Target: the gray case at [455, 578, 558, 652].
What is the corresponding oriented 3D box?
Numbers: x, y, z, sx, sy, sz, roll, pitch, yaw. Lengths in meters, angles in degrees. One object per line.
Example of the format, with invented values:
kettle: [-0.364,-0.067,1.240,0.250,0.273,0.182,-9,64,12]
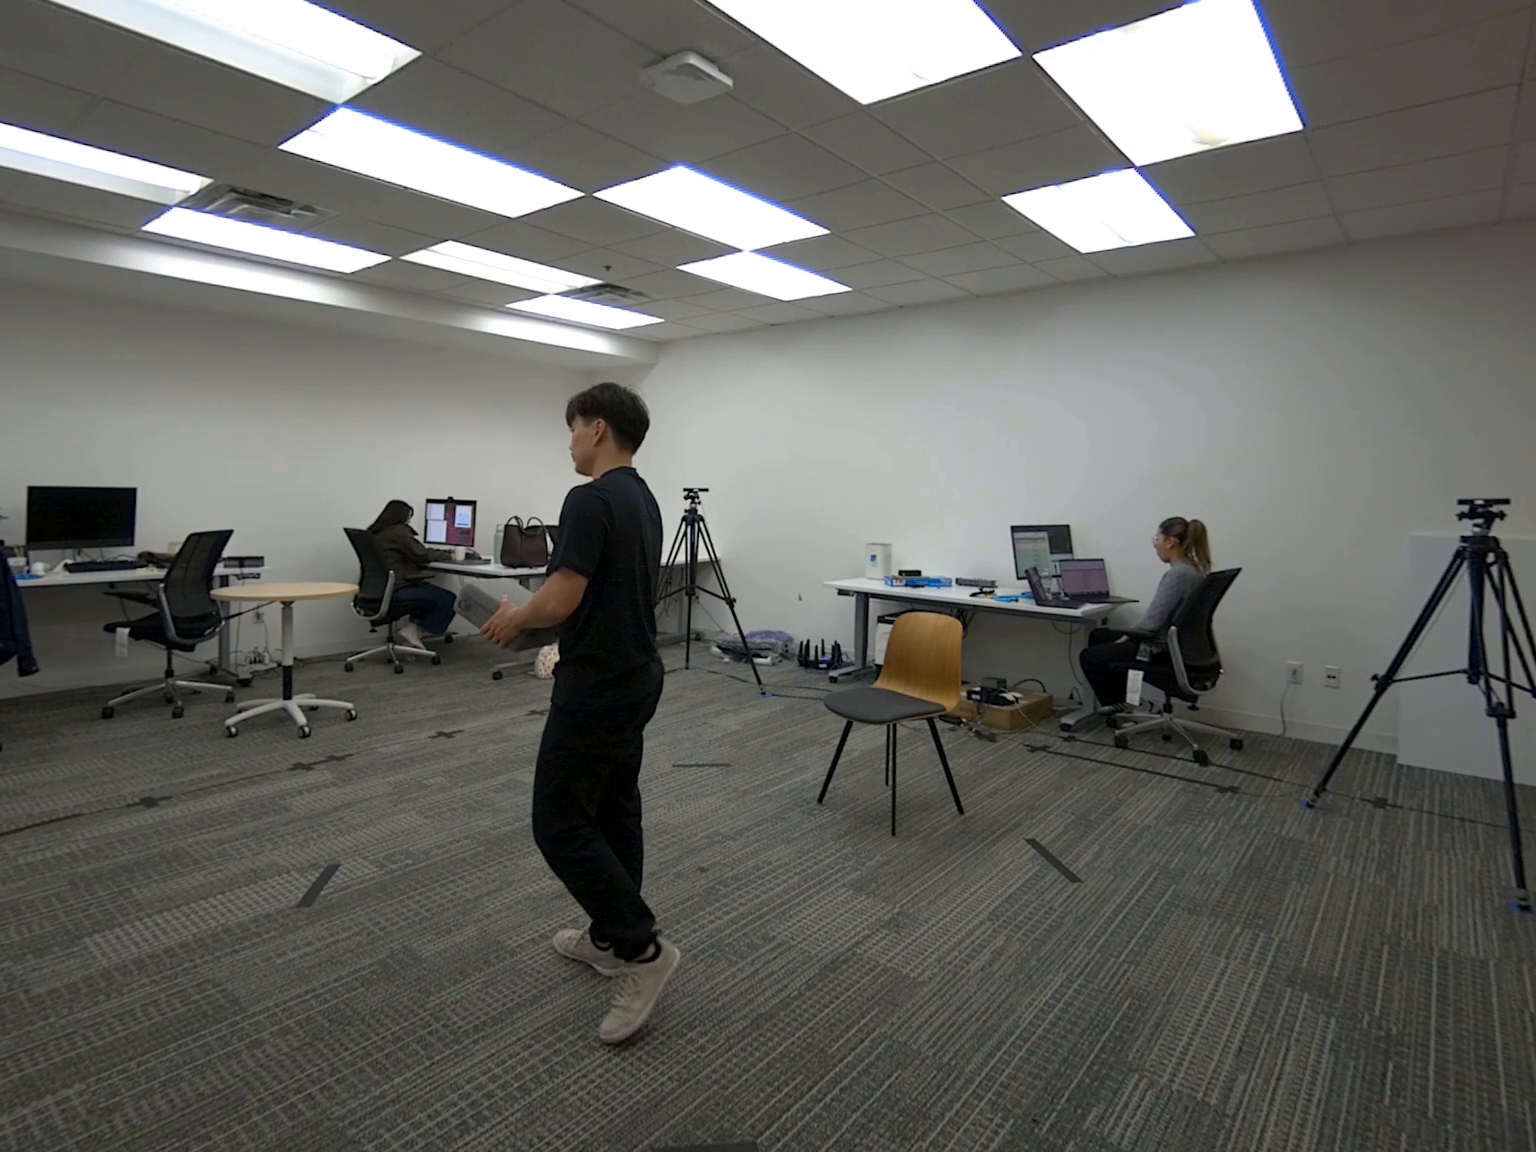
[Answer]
gray case: [-0.759,0.097,2.482,0.267,0.104,0.252,28,10,17]
